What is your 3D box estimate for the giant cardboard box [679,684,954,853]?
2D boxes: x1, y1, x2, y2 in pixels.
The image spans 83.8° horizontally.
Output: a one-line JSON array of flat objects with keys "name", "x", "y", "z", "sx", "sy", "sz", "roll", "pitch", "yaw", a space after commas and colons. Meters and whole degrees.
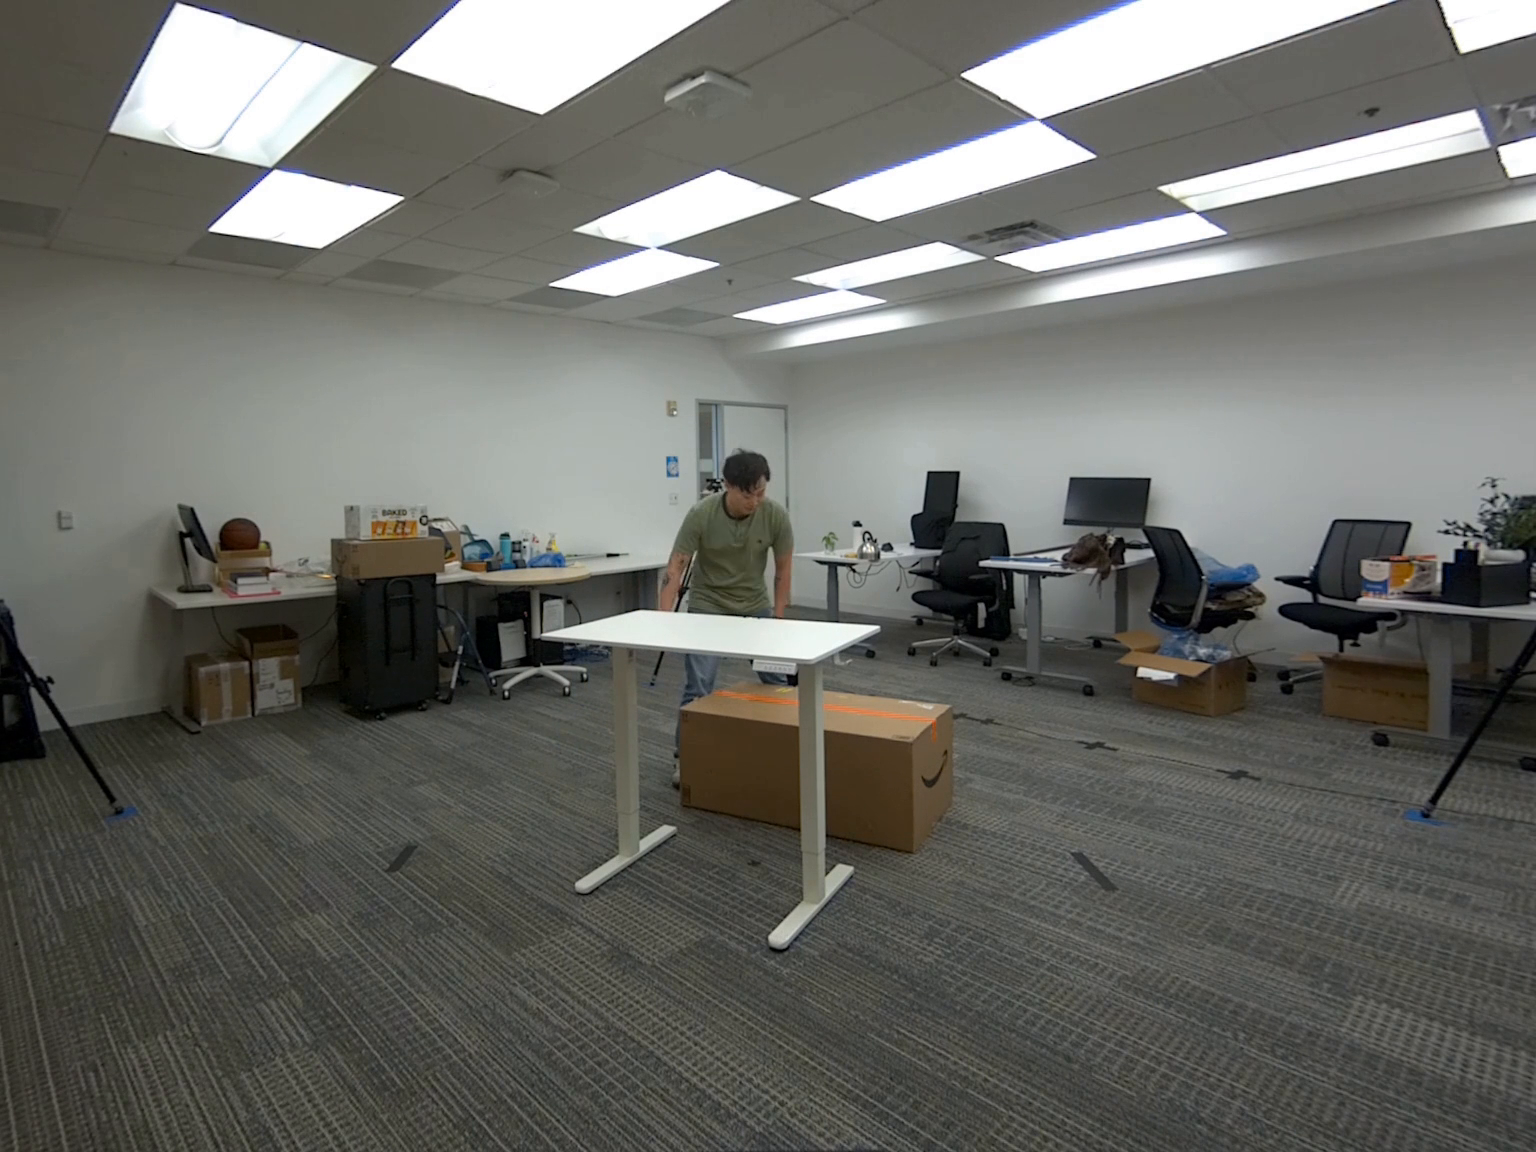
[{"name": "giant cardboard box", "x": 0.205, "y": 0.766, "z": 3.638, "sx": 1.052, "sy": 0.425, "sz": 0.565, "roll": 2, "pitch": 5, "yaw": 28}]
